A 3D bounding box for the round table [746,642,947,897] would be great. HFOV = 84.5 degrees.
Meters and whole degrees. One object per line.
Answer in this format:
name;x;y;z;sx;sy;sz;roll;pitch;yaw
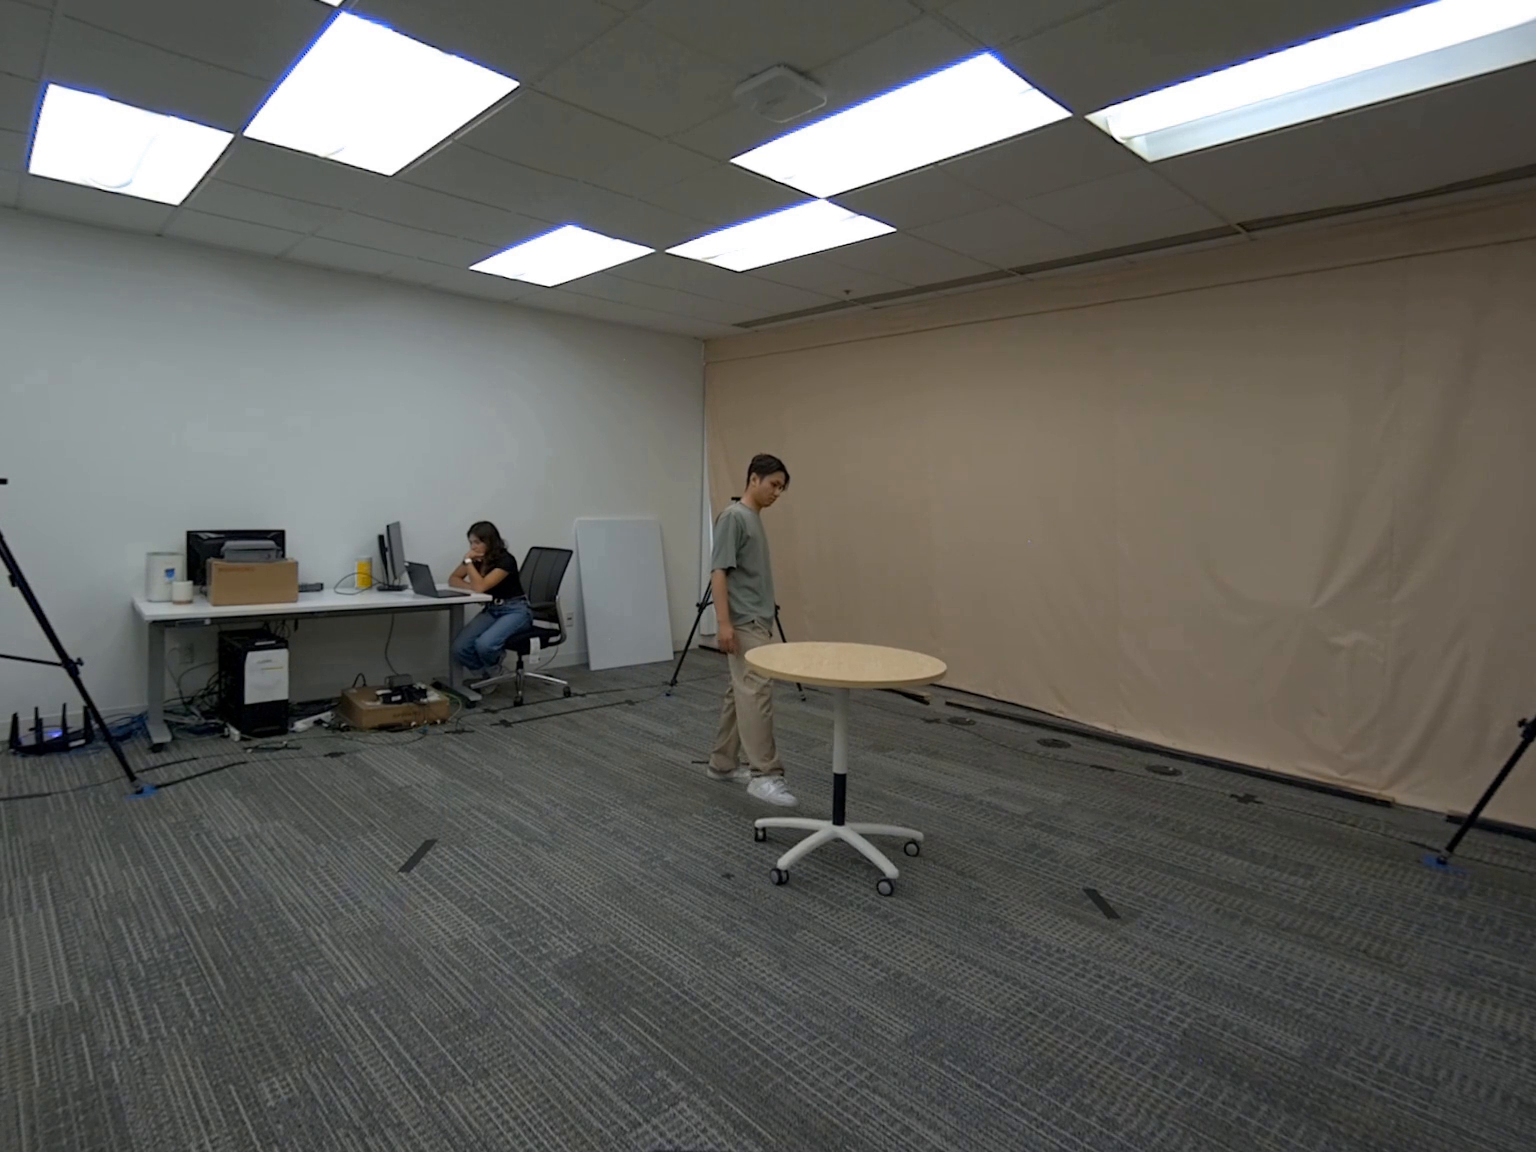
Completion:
round table;0.286;0.711;3.256;0.784;0.784;0.788;1;4;-1
